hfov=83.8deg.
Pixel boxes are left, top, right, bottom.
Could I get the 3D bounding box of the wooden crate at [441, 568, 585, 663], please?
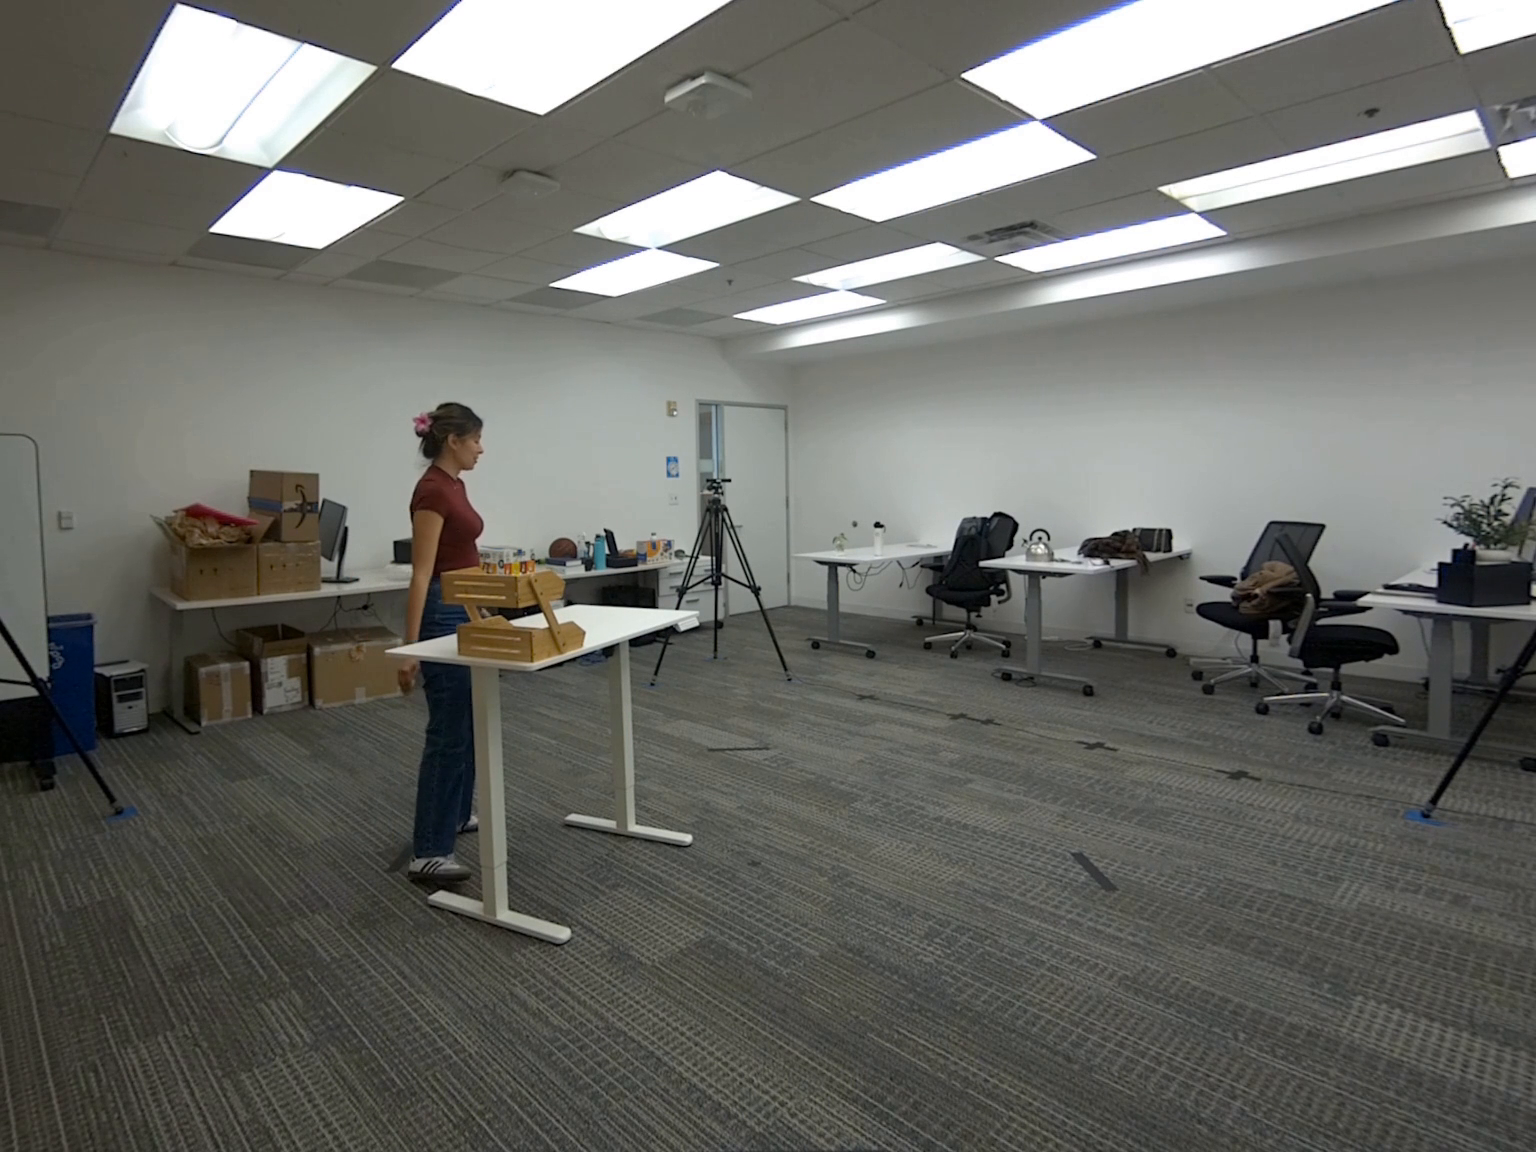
[{"bbox_3d":[-0.776,0.102,2.621,0.332,0.272,0.296,1,6,27],"label":"wooden crate"}]
